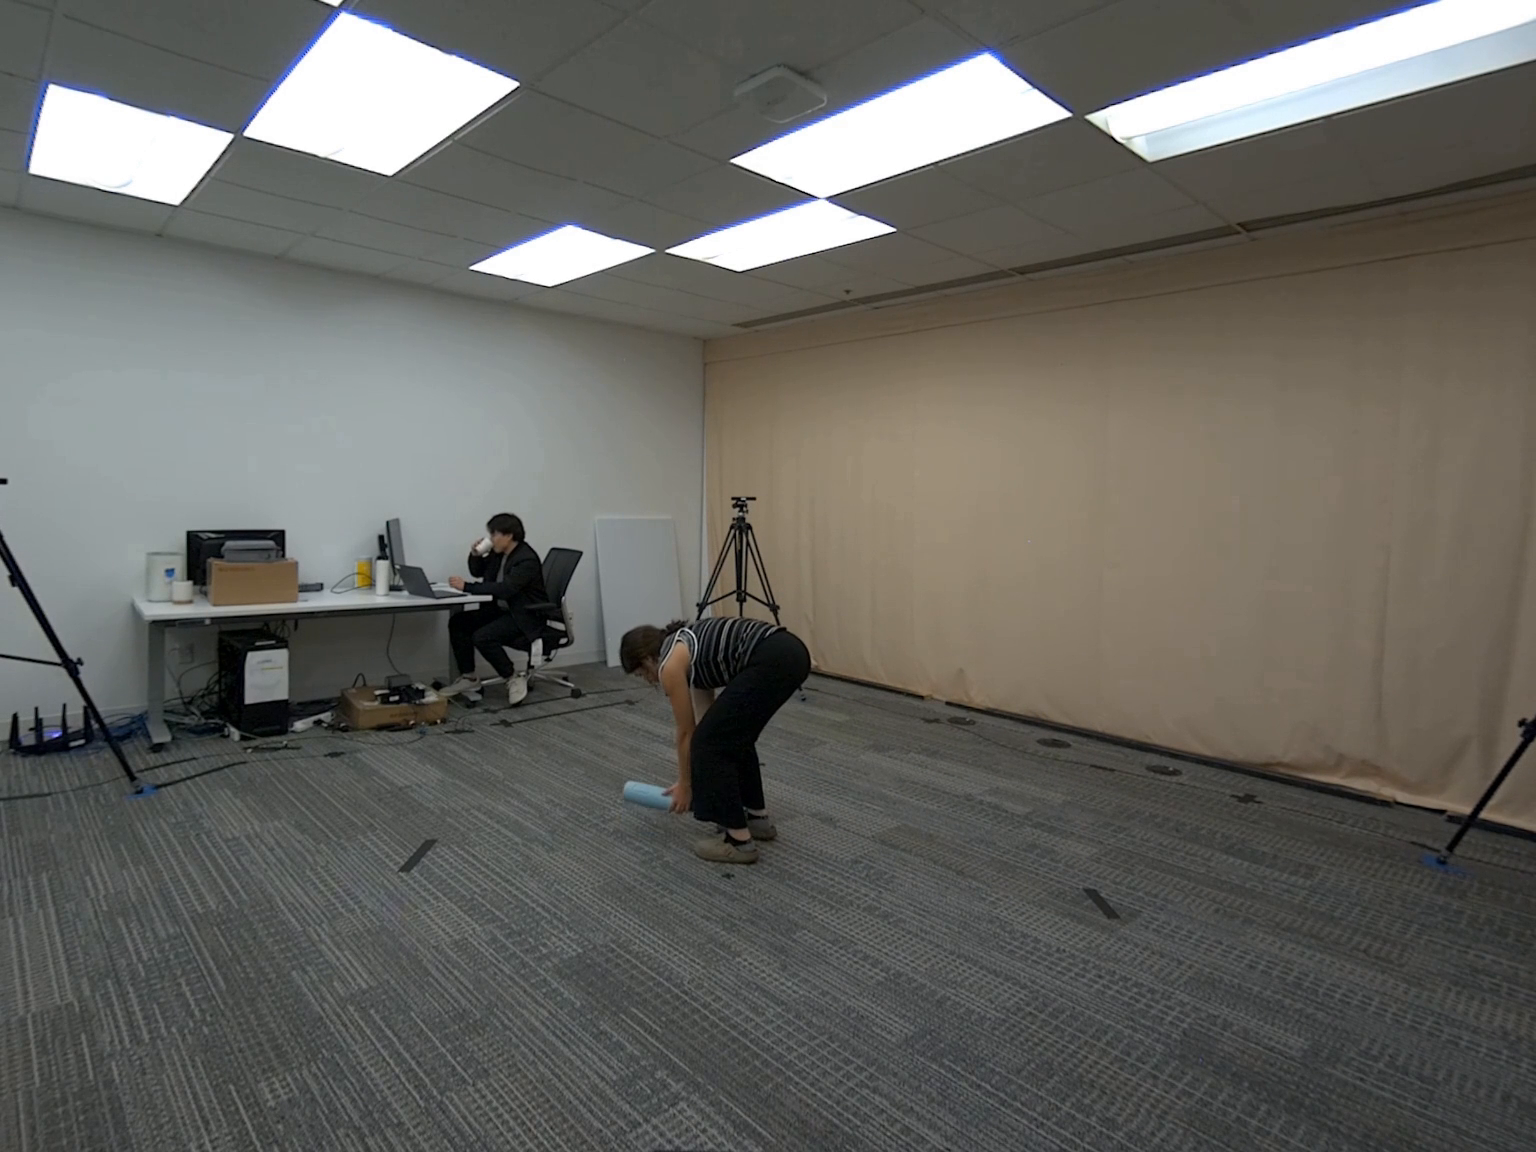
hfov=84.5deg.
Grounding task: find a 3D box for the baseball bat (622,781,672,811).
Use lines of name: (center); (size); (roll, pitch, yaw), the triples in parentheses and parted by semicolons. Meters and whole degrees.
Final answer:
baseball bat: (-0.362, 0.940, 3.447); (0.552, 0.089, 0.088); (6, 5, 19)
